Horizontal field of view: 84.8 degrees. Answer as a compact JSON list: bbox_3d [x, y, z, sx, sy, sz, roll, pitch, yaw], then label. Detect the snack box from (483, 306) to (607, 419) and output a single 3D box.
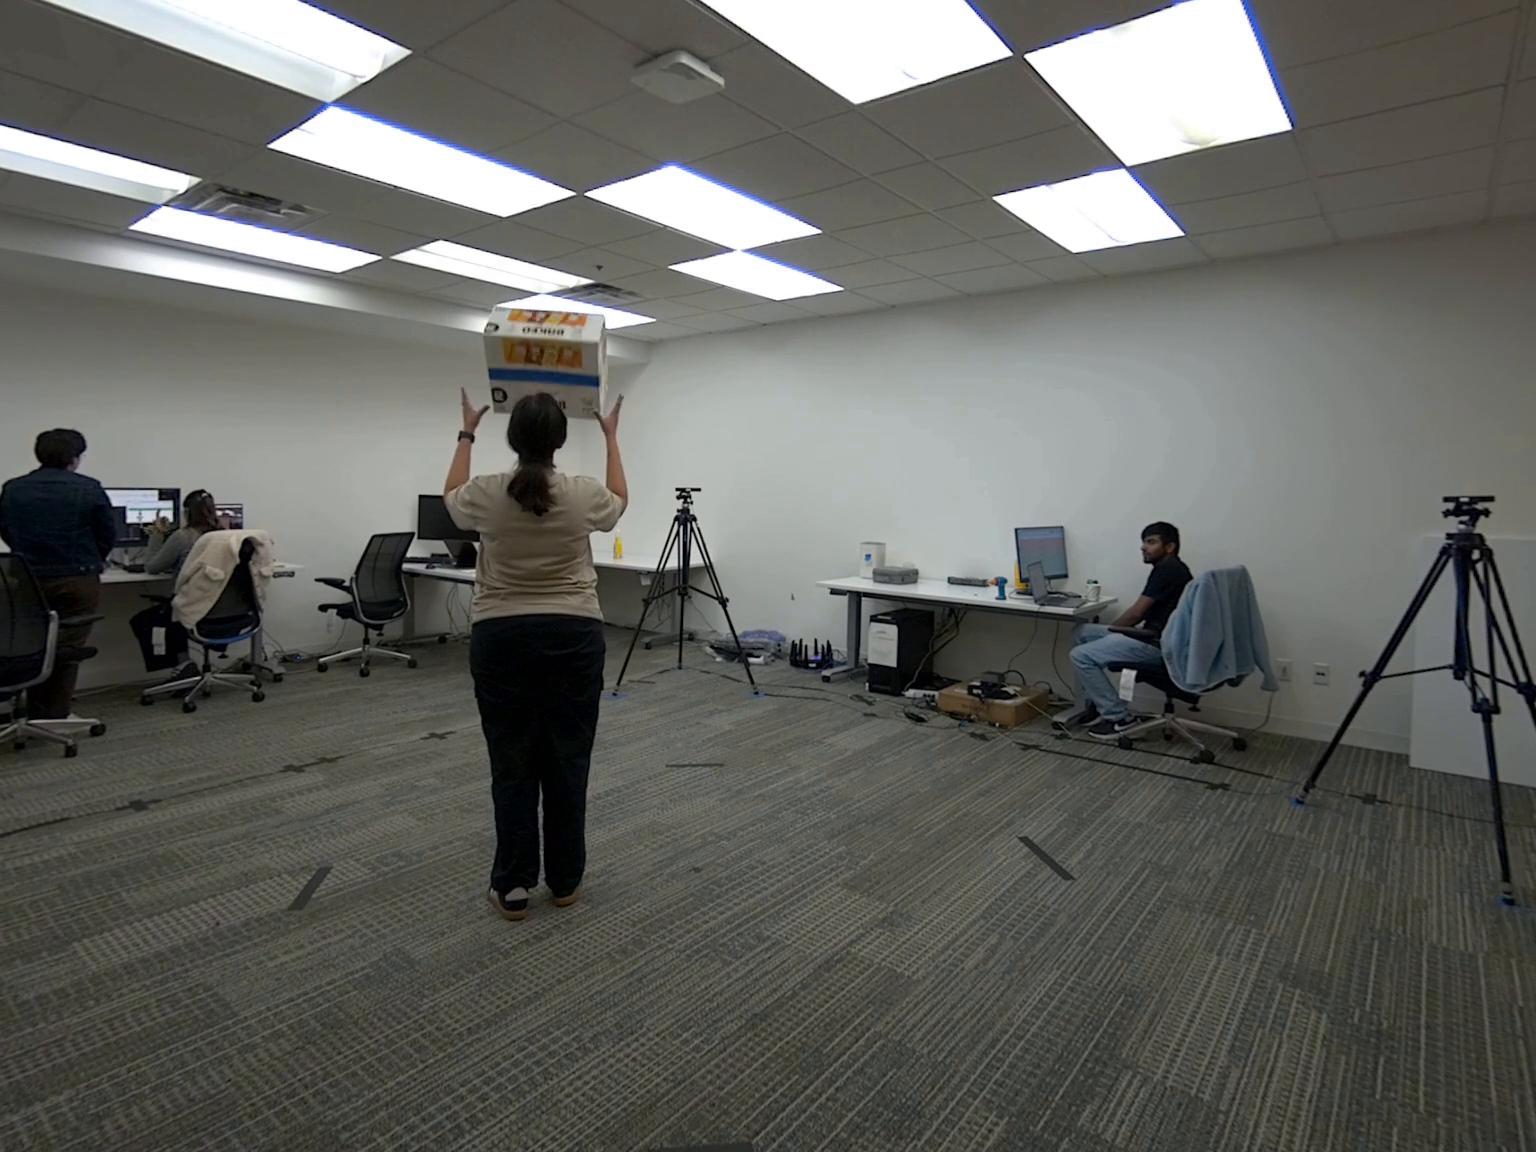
[{"bbox_3d":[-0.828,-0.767,3.146,0.405,0.332,0.211,5,45,-2],"label":"snack box"}]
